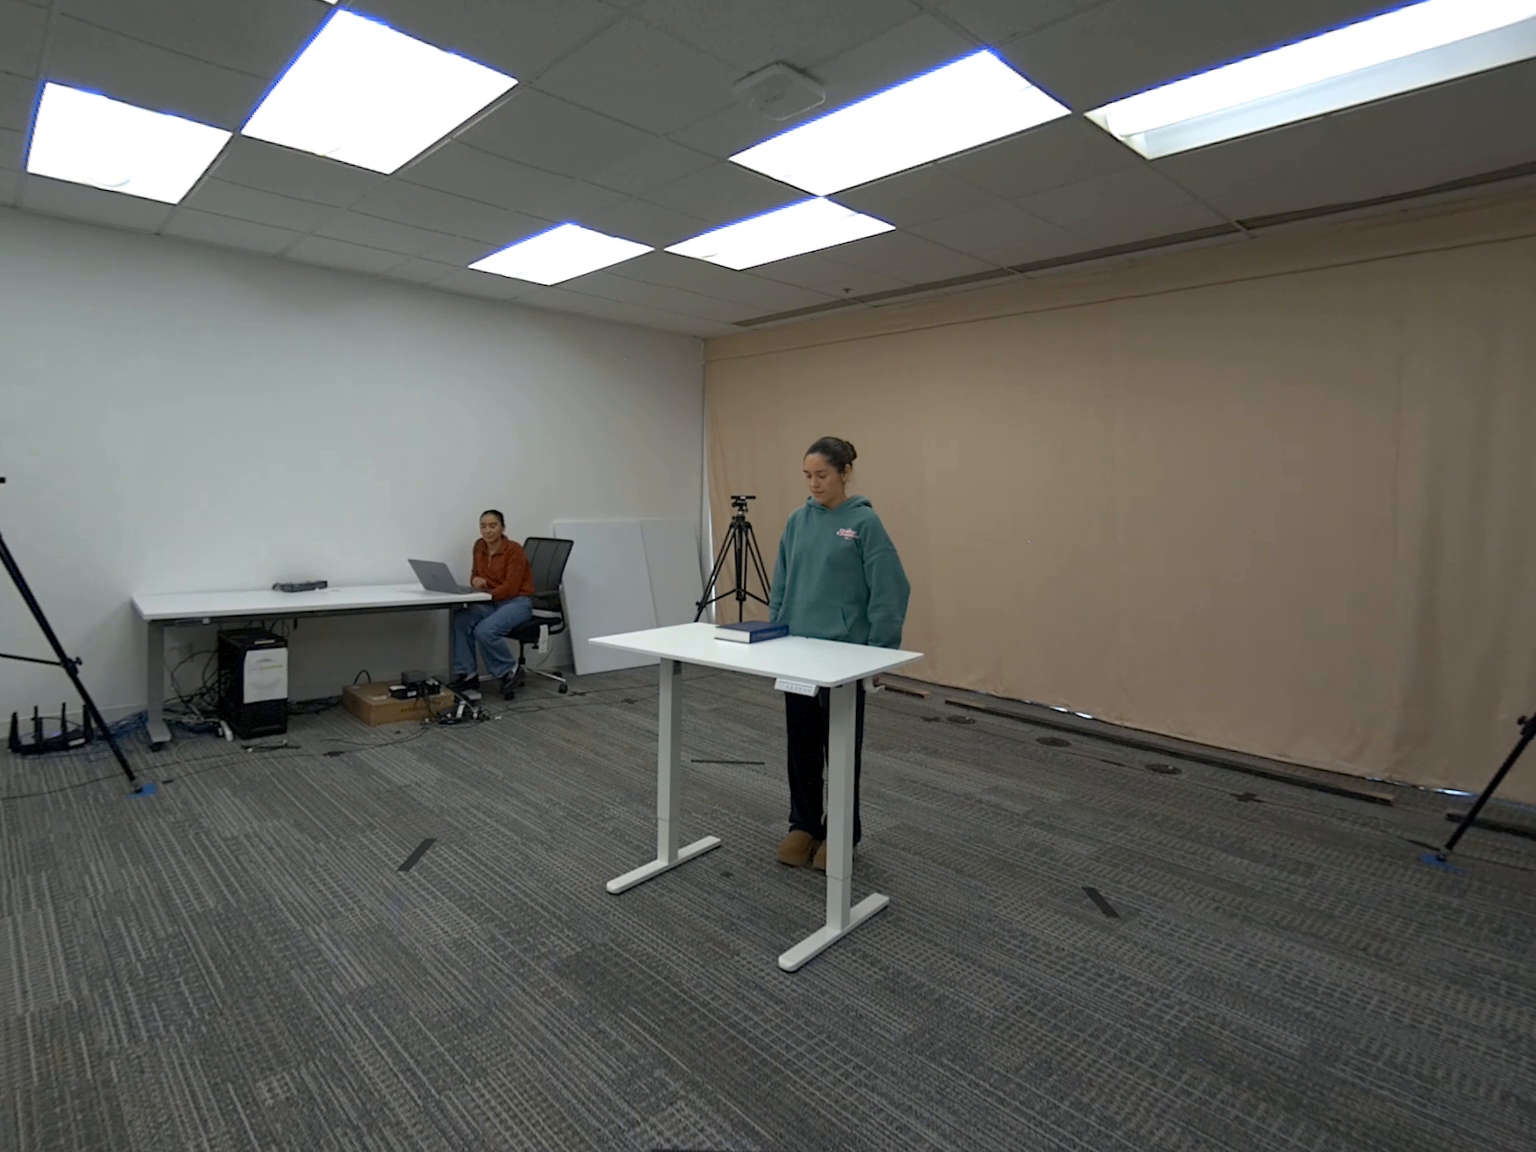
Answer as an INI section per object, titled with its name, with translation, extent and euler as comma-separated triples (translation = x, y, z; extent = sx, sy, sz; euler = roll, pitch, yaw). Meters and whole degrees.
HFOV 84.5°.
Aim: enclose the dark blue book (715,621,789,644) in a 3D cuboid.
[dark blue book]
translation = -0.066, 0.206, 3.076
extent = 0.167, 0.045, 0.240
euler = 5, 6, 34
